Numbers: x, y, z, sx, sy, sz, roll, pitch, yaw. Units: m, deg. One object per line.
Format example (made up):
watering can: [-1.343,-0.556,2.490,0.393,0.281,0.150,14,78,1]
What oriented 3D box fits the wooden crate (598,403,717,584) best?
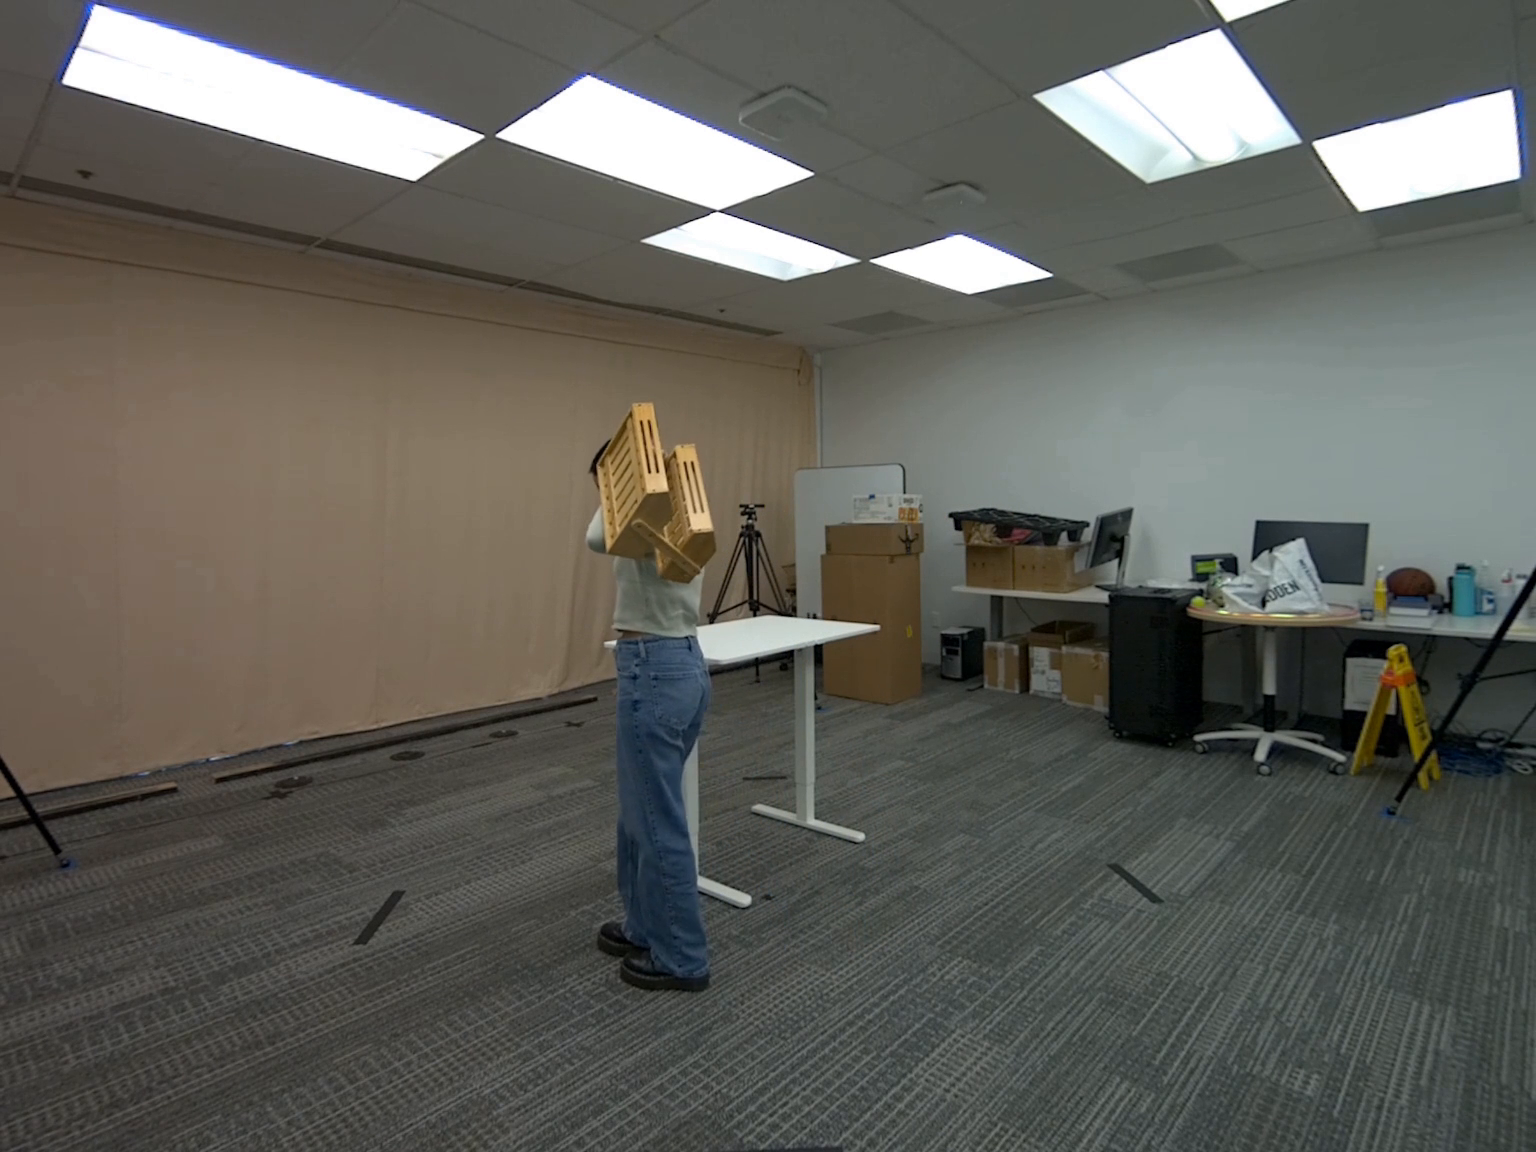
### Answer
wooden crate: [-0.253,-0.211,2.140,0.265,0.332,0.304,12,-43,-32]
